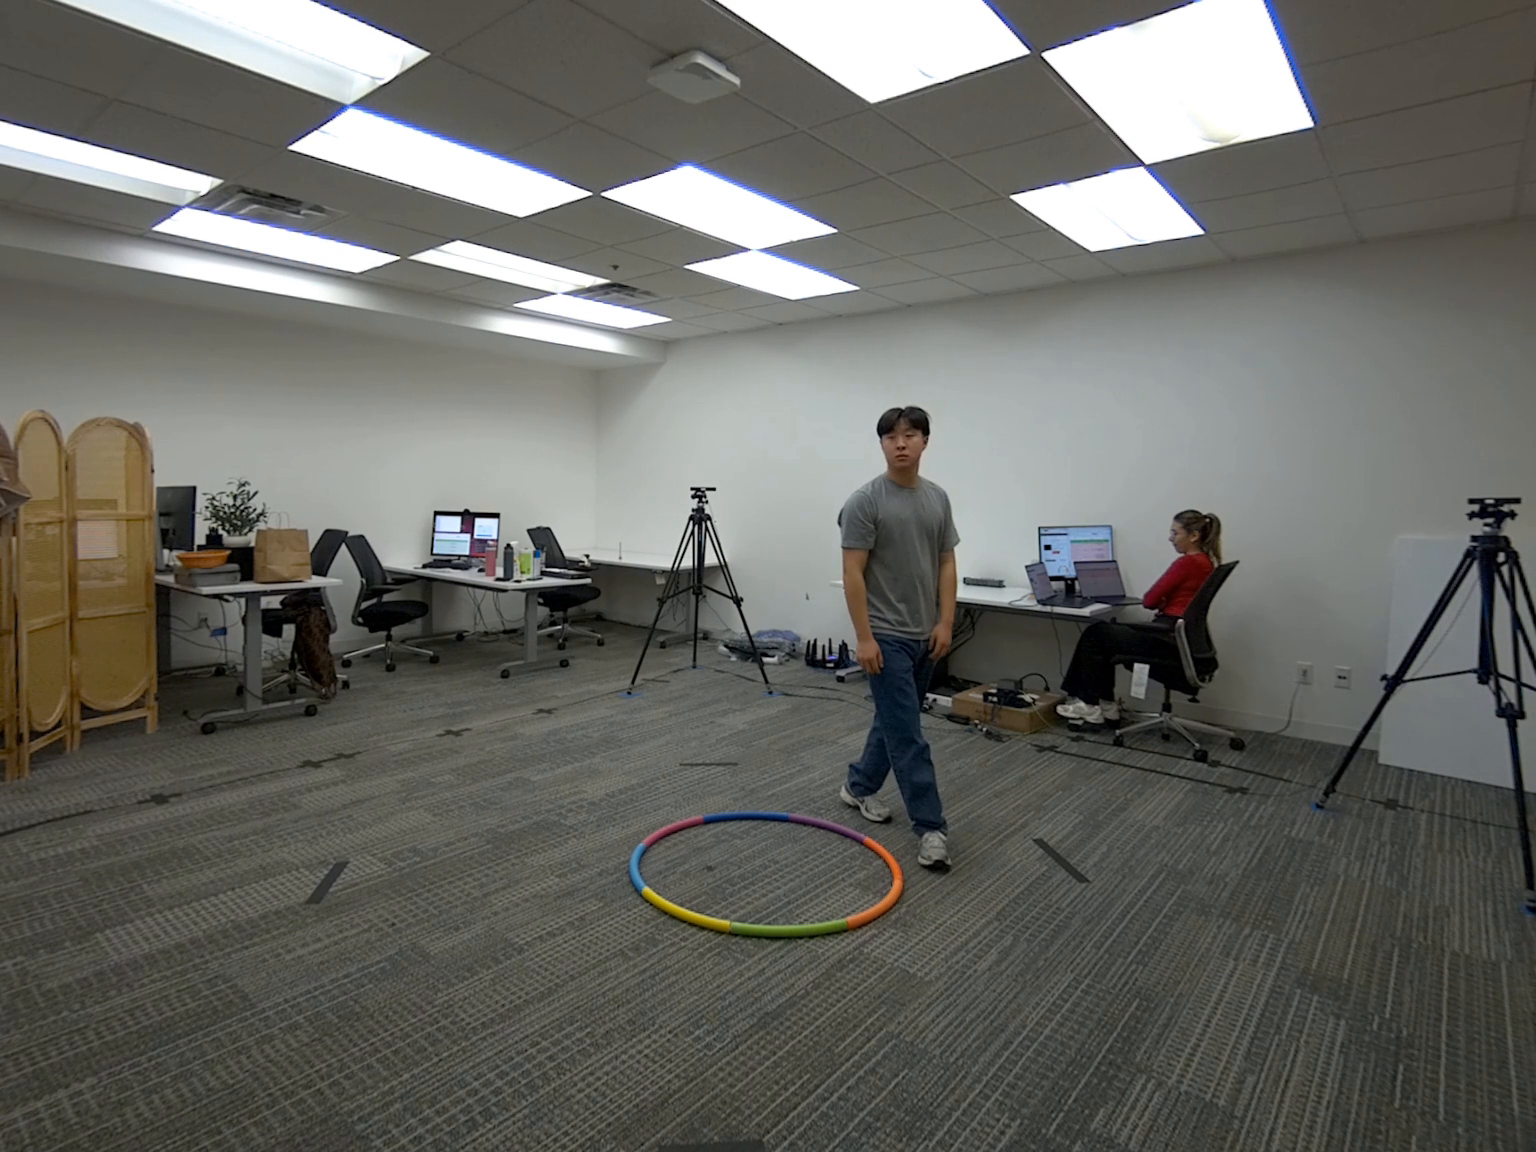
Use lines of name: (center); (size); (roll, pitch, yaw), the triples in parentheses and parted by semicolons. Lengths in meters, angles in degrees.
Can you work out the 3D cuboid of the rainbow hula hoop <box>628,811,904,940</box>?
rainbow hula hoop: (-0.022, 1.040, 3.105); (0.978, 0.035, 0.984); (1, 6, -2)
